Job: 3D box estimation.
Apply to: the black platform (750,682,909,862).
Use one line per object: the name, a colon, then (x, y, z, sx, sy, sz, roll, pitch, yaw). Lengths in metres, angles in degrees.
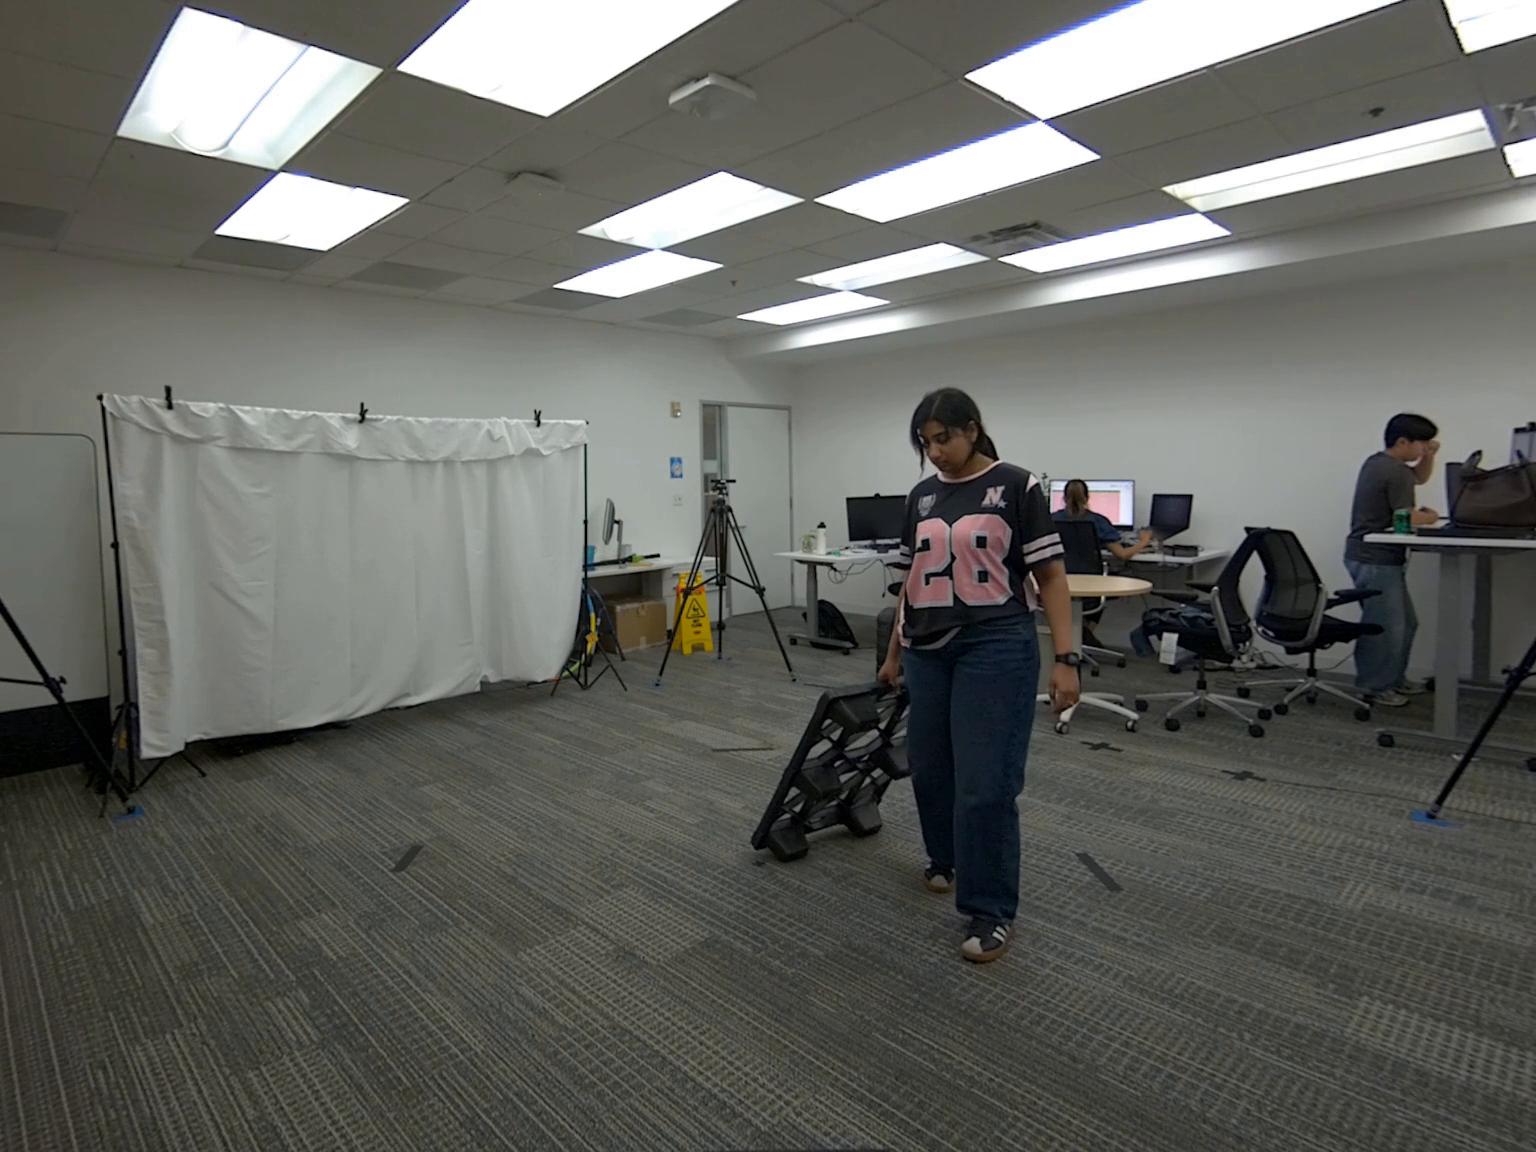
black platform: (0.332, 0.698, 3.097, 0.590, 0.795, 0.149, -3, 39, -35)
